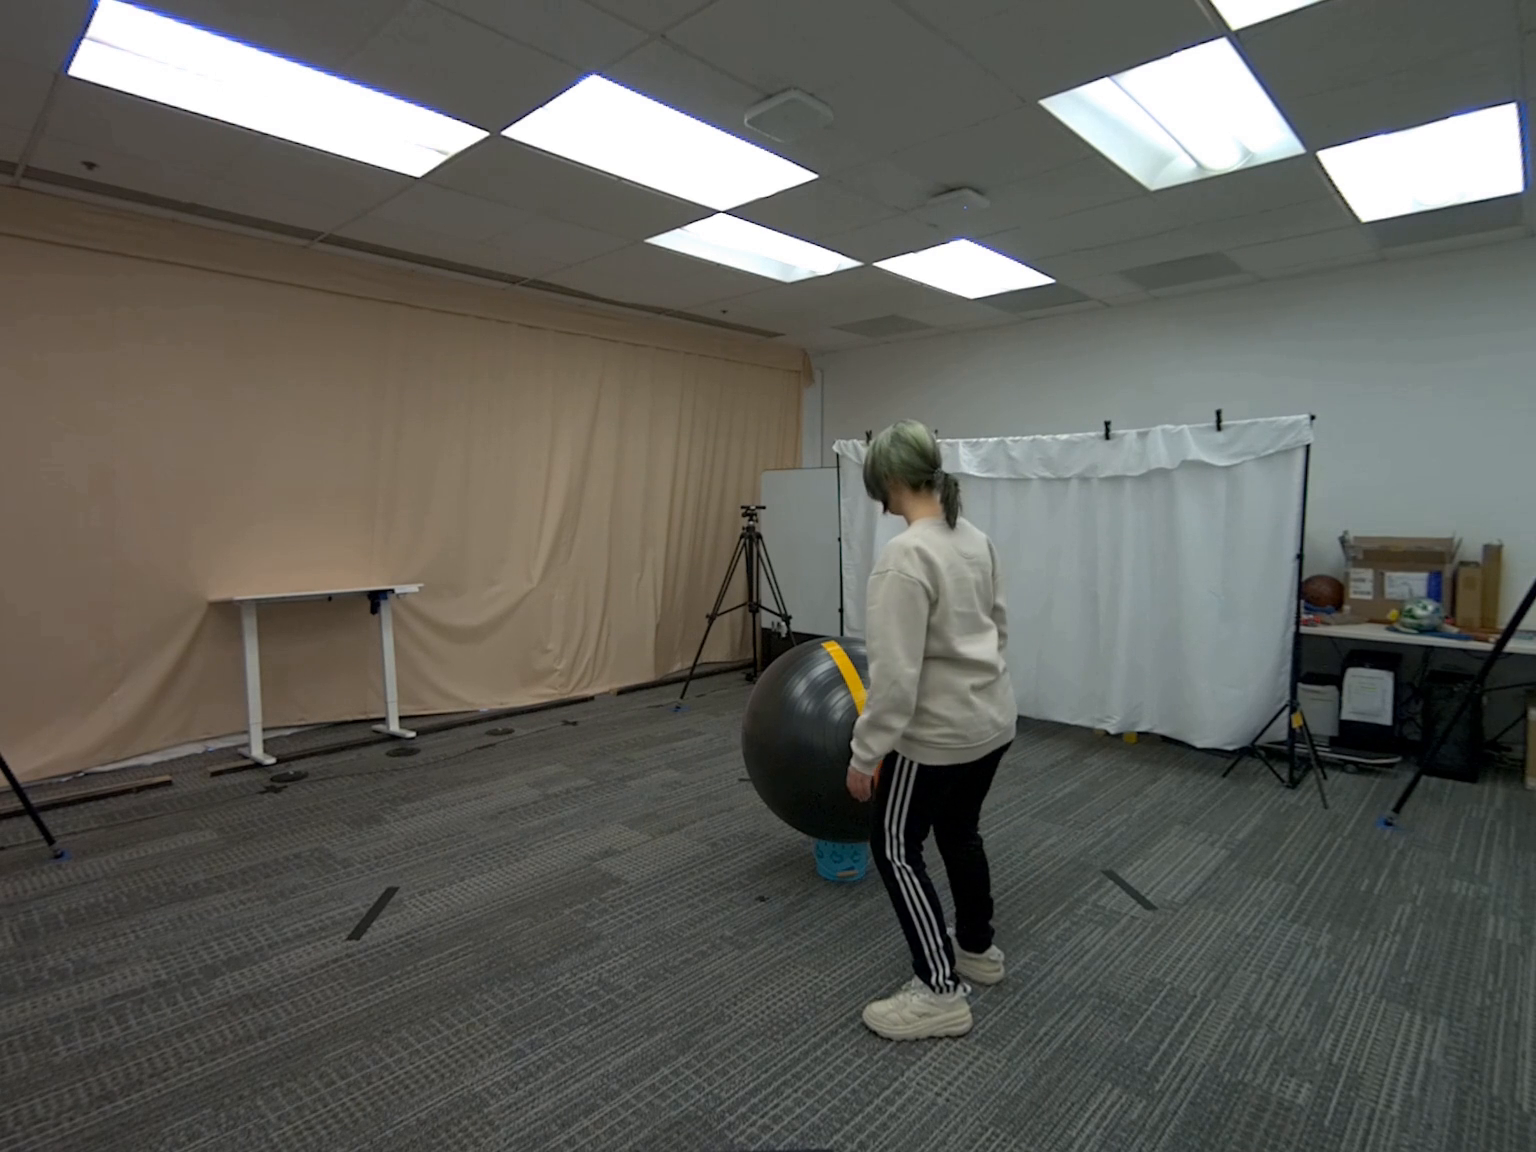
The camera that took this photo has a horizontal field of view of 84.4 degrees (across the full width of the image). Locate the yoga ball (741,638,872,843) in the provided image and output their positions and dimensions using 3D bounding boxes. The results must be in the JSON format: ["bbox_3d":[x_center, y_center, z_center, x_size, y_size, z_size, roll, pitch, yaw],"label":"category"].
[{"bbox_3d":[0.281,0.612,3.186,0.757,0.756,0.760,0,4,-2],"label":"yoga ball"}]
